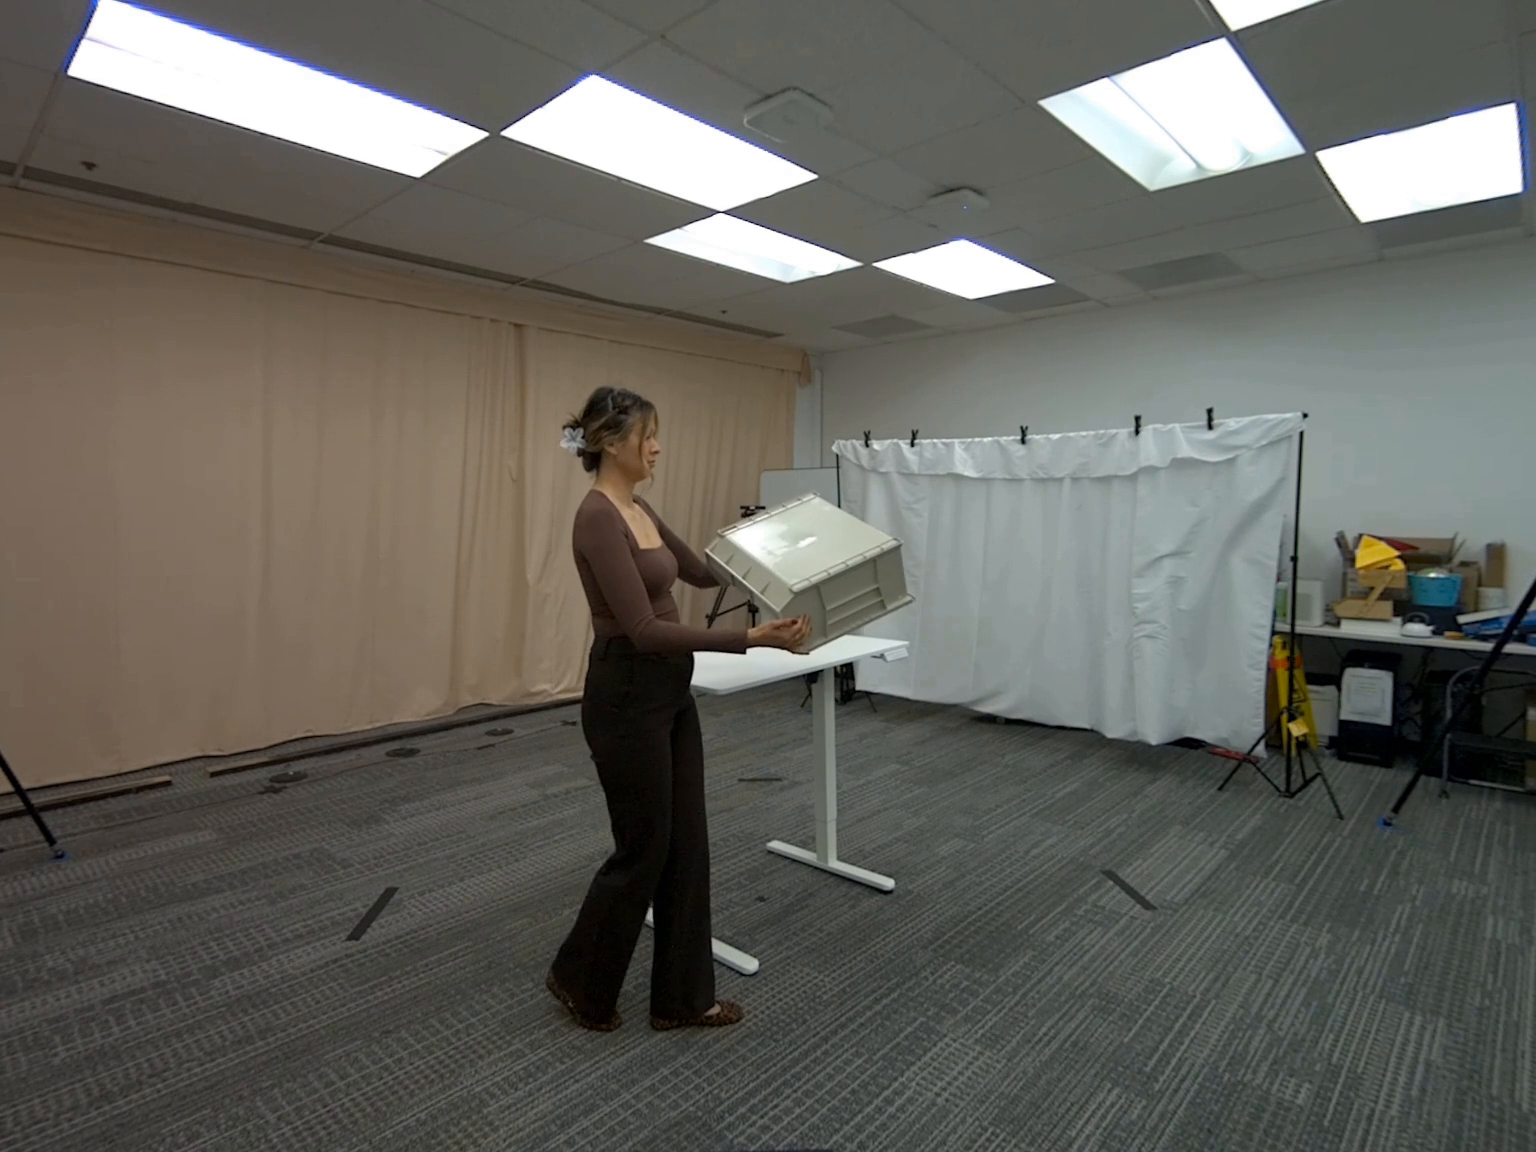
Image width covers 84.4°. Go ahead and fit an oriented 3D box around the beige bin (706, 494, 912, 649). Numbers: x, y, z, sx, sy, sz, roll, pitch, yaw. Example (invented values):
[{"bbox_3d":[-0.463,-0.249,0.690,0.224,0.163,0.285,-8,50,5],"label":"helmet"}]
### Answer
[{"bbox_3d":[0.096,-0.018,2.199,0.372,0.185,0.437,-25,32,-19],"label":"beige bin"}]
